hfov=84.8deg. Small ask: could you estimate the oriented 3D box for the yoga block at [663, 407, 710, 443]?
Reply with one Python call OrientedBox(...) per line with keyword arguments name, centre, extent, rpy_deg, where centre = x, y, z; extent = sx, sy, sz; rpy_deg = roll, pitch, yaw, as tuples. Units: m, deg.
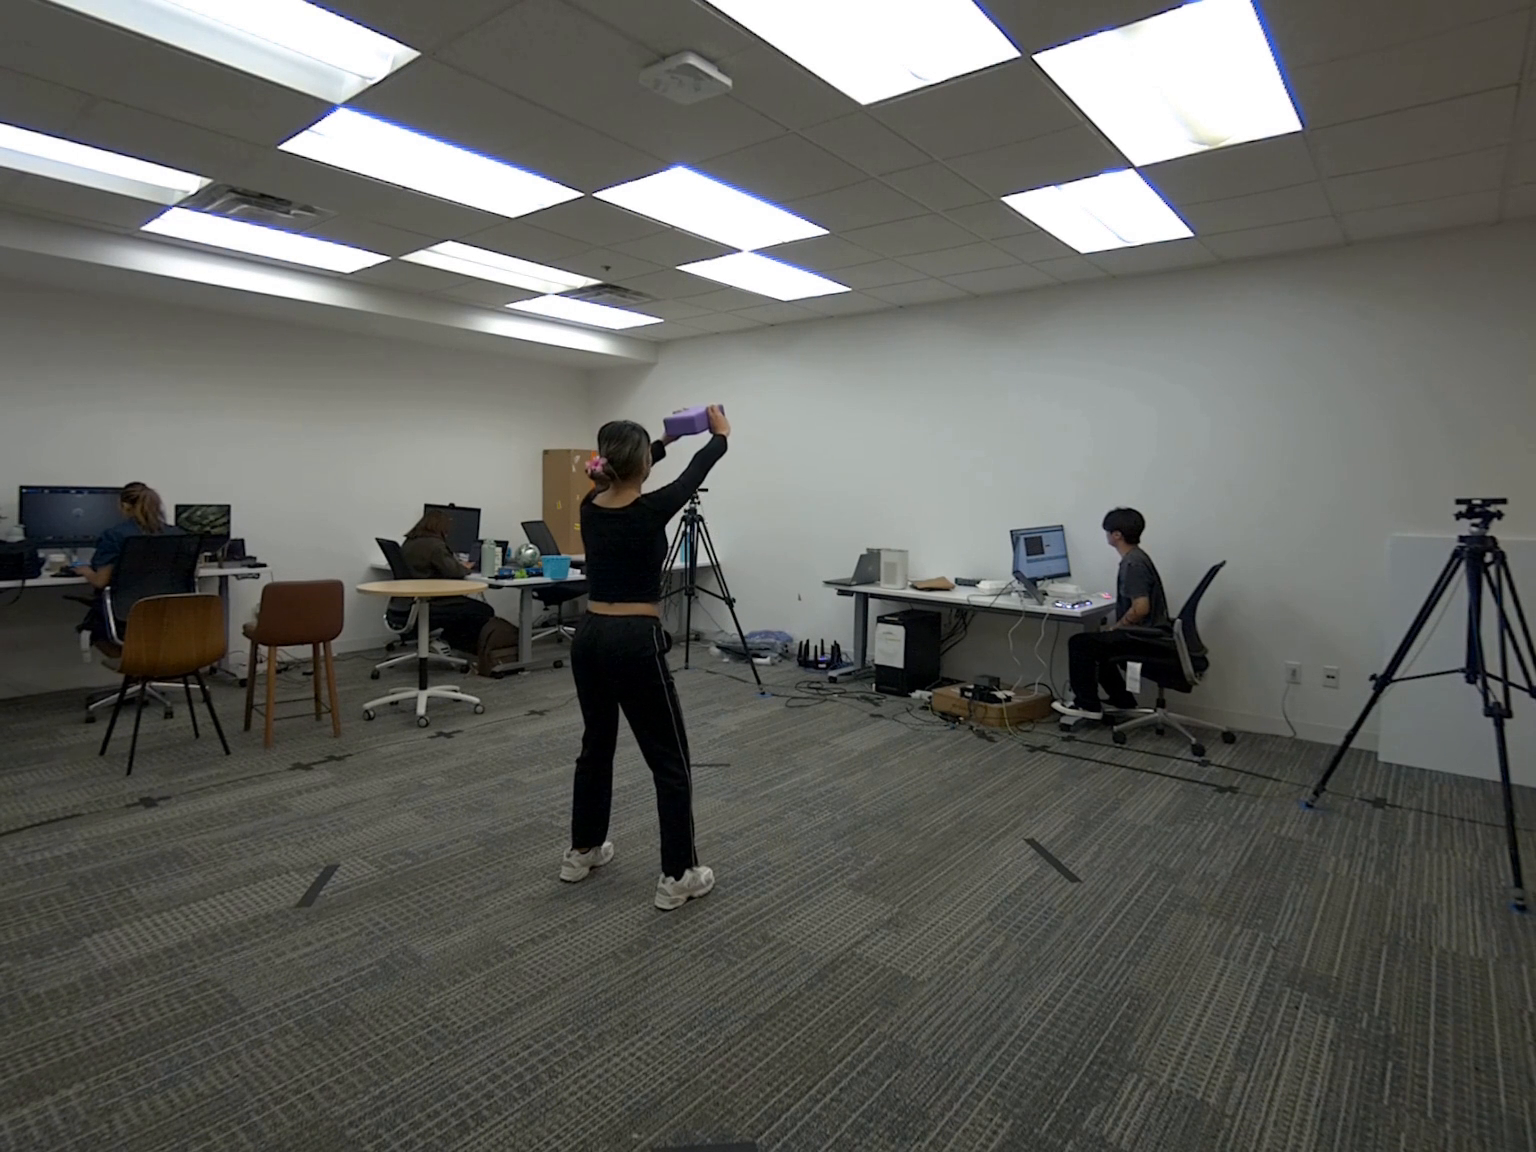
OrientedBox(name="yoga block", centre=(-0.296, -0.612, 3.326), extent=(0.153, 0.075, 0.227), rpy_deg=(0, 21, 28))
